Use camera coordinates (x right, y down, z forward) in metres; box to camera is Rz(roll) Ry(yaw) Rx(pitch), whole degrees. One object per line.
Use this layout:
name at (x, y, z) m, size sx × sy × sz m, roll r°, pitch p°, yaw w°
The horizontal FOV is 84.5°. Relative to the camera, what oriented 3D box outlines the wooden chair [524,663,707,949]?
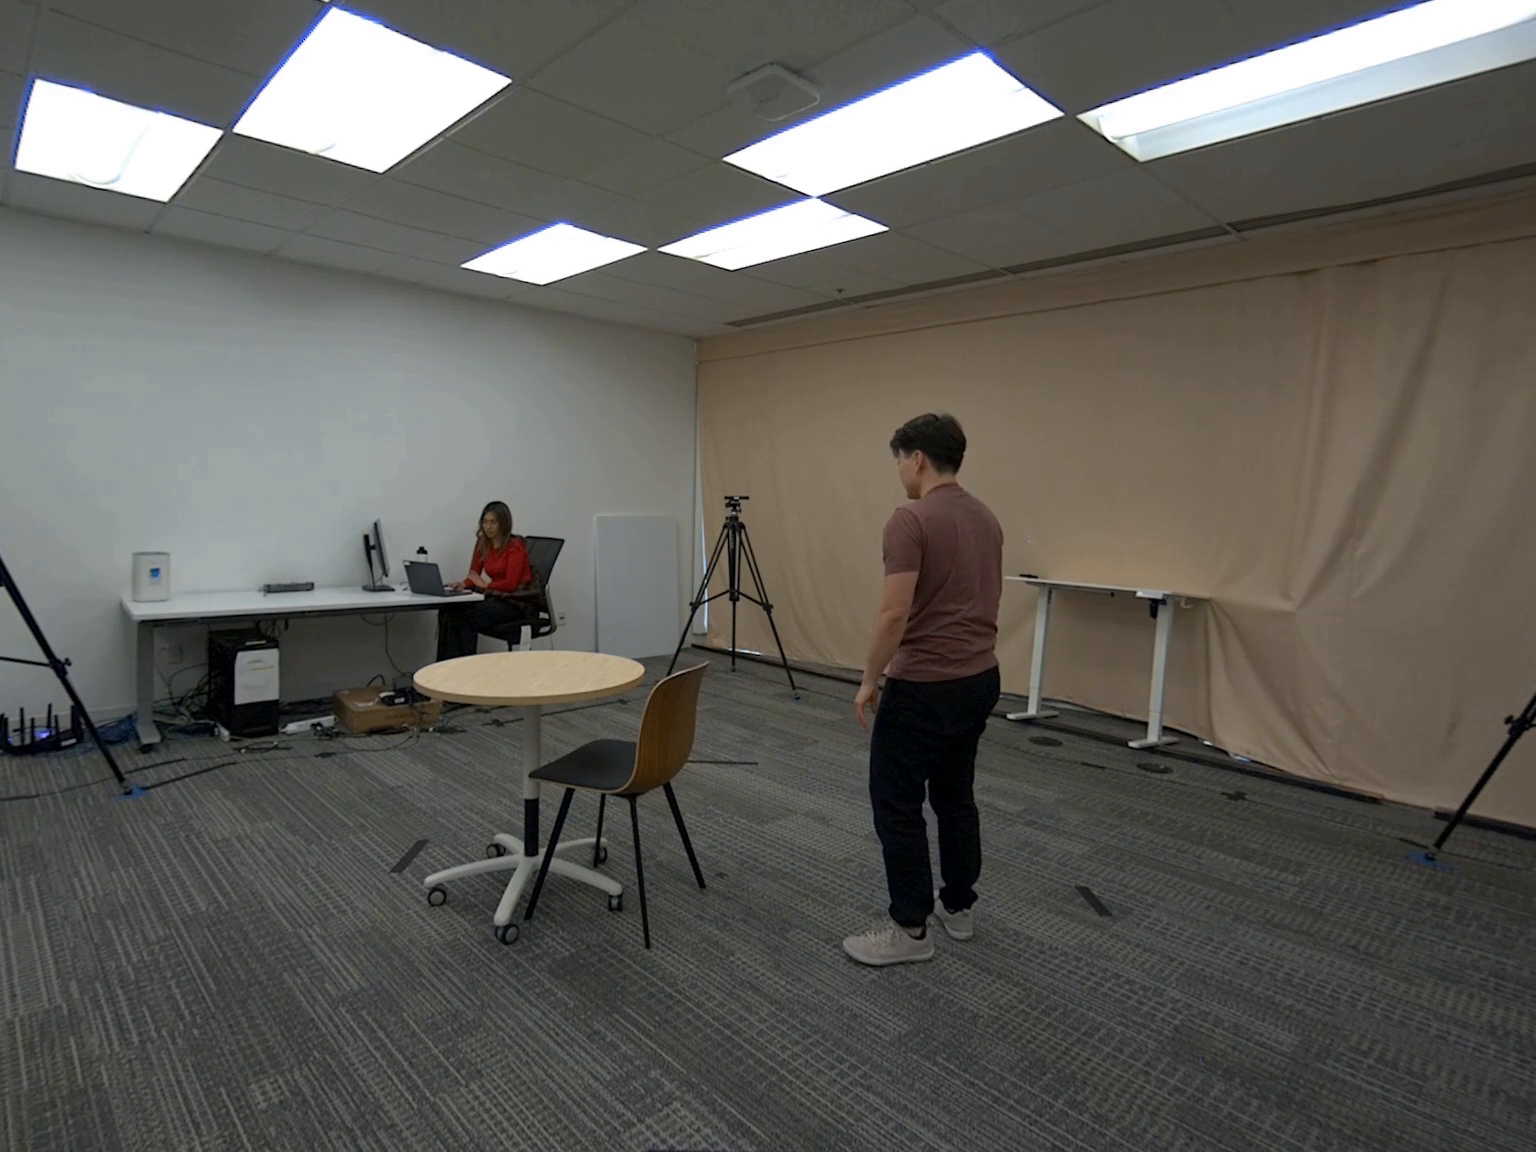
wooden chair at (-0.503, 0.686, 2.840) m, size 0.532 × 0.874 × 0.471 m, roll 7°, pitch 6°, yaw 21°
